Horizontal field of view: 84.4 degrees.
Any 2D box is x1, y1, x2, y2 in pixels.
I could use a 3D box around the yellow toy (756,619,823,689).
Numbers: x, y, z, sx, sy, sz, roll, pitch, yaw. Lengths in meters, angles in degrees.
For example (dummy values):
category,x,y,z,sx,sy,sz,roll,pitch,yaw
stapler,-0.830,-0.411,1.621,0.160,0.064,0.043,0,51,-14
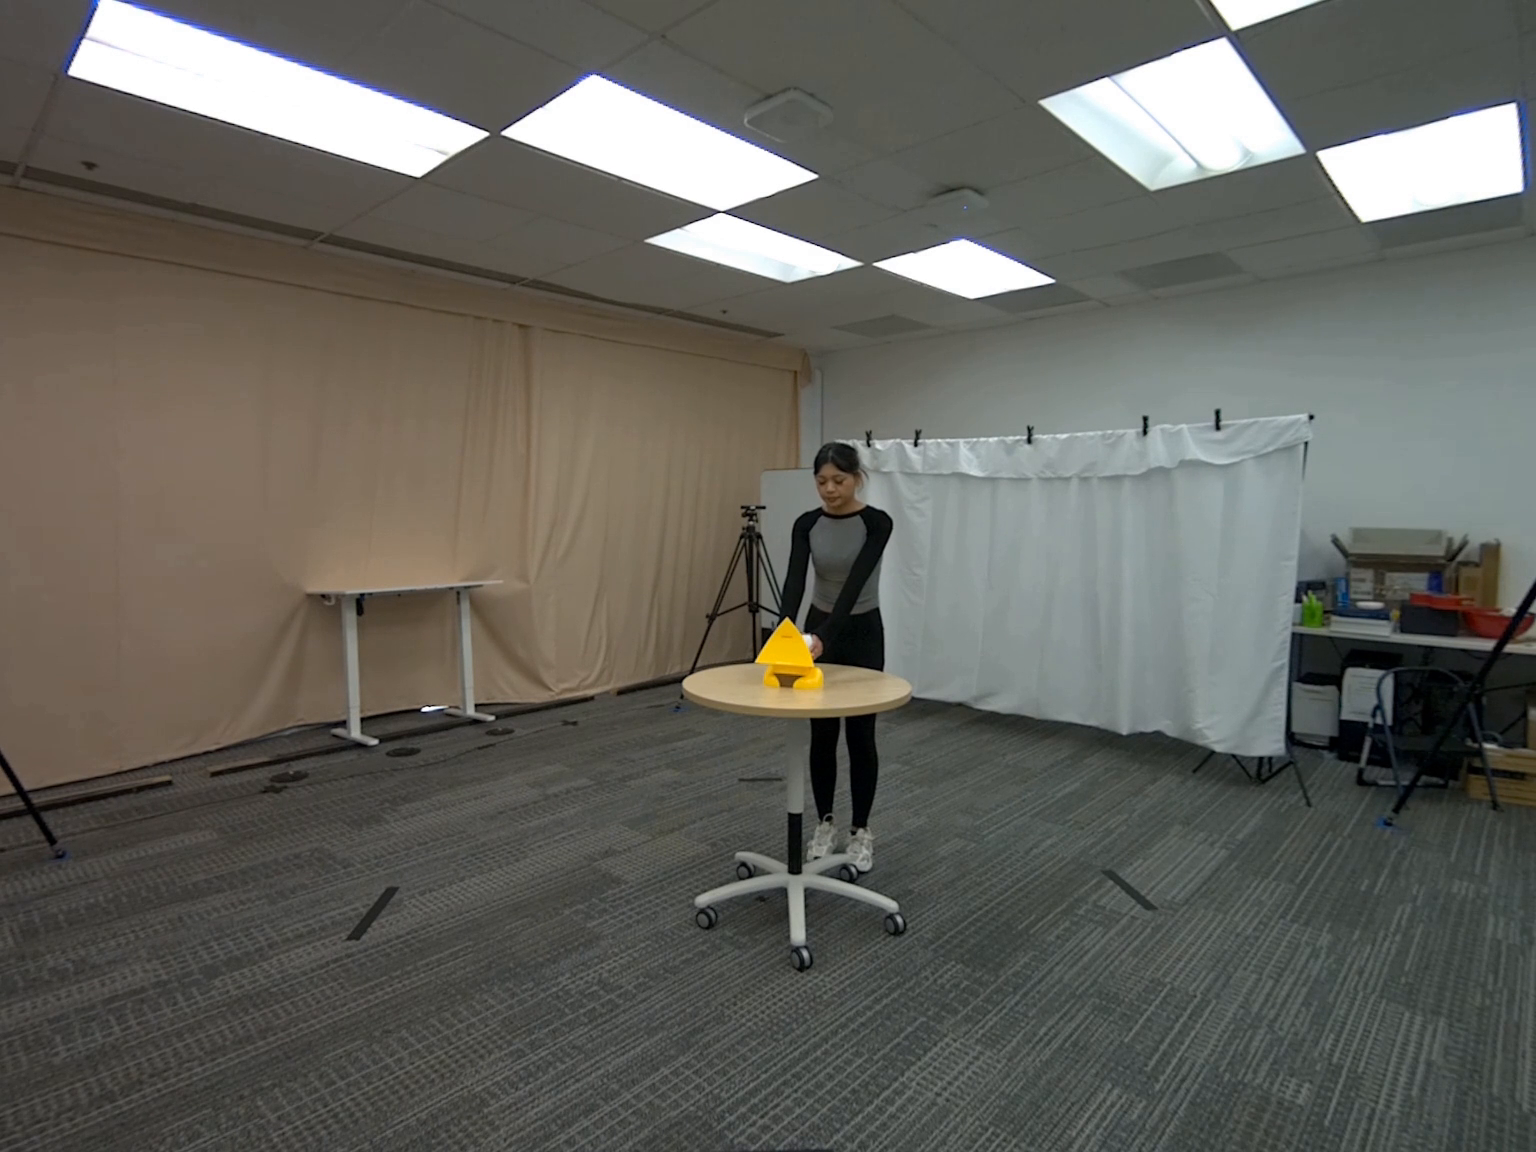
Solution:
category,x,y,z,sx,sy,sz,roll,pitch,yaw
yellow toy,0.082,0.249,2.825,0.209,0.230,0.189,2,4,21
